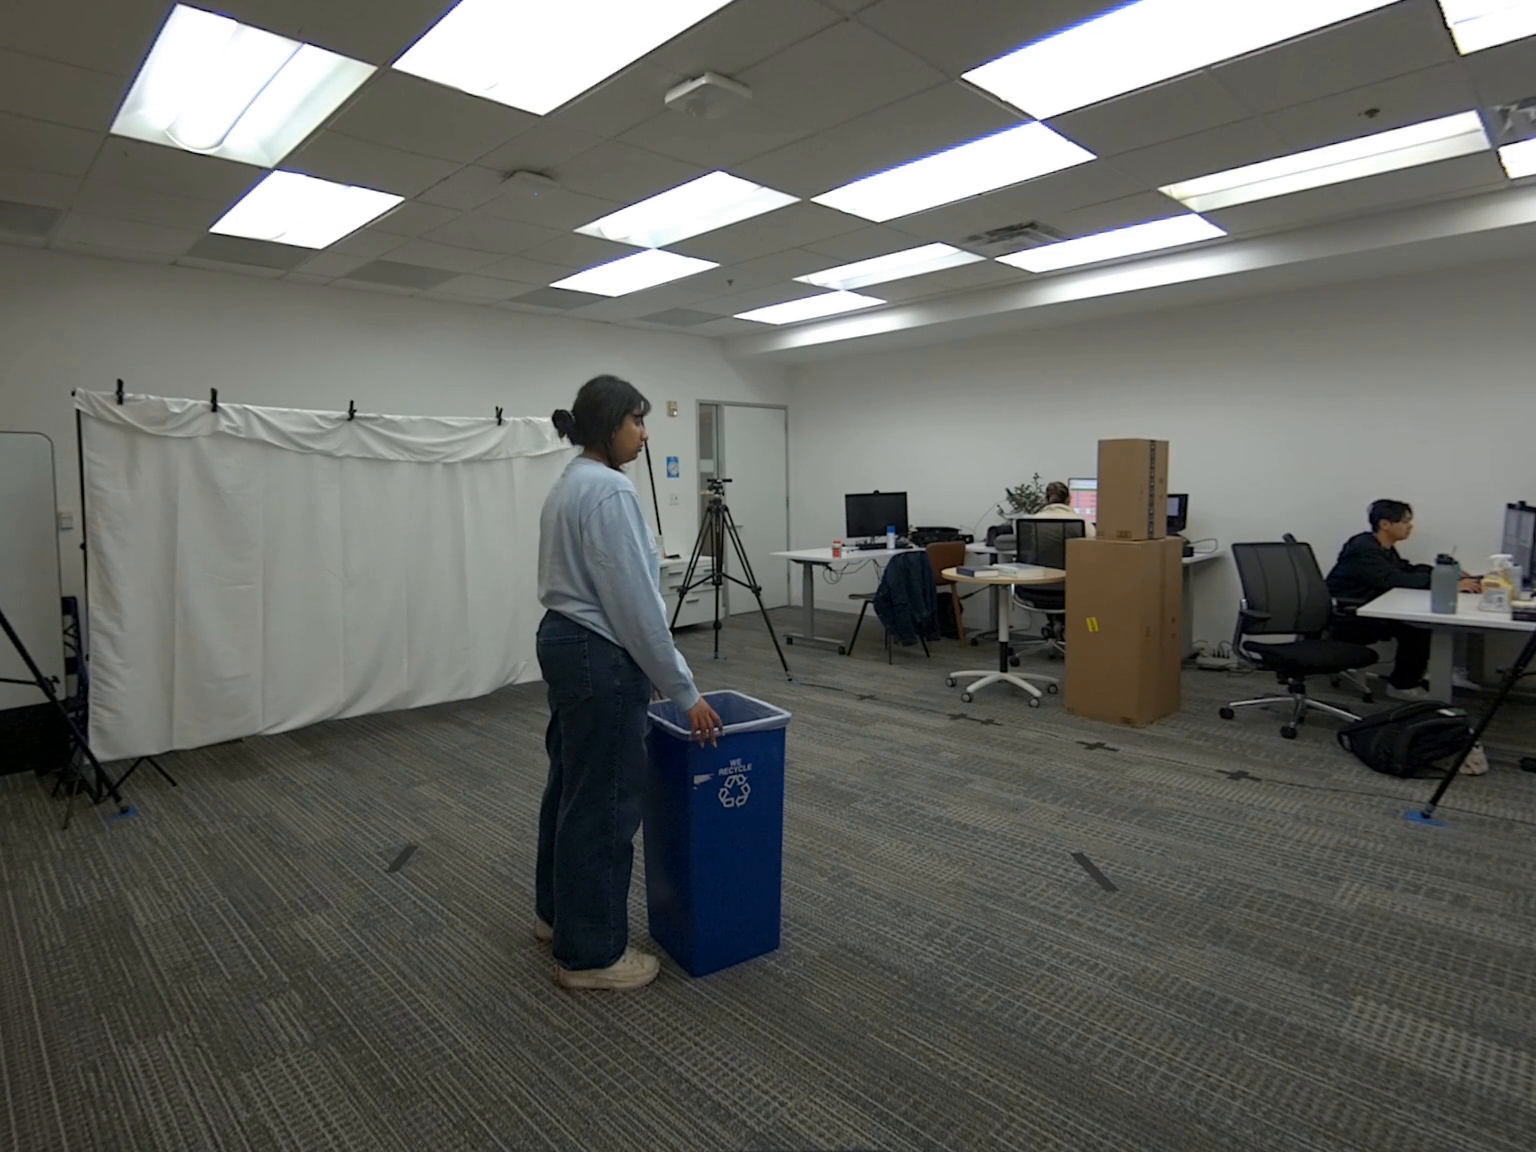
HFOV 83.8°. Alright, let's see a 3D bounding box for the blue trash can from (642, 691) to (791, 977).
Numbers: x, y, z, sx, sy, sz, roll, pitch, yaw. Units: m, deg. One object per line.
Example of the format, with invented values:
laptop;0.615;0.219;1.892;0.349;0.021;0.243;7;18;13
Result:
blue trash can;-0.160;0.752;2.582;0.365;0.710;0.389;-4;6;-33
